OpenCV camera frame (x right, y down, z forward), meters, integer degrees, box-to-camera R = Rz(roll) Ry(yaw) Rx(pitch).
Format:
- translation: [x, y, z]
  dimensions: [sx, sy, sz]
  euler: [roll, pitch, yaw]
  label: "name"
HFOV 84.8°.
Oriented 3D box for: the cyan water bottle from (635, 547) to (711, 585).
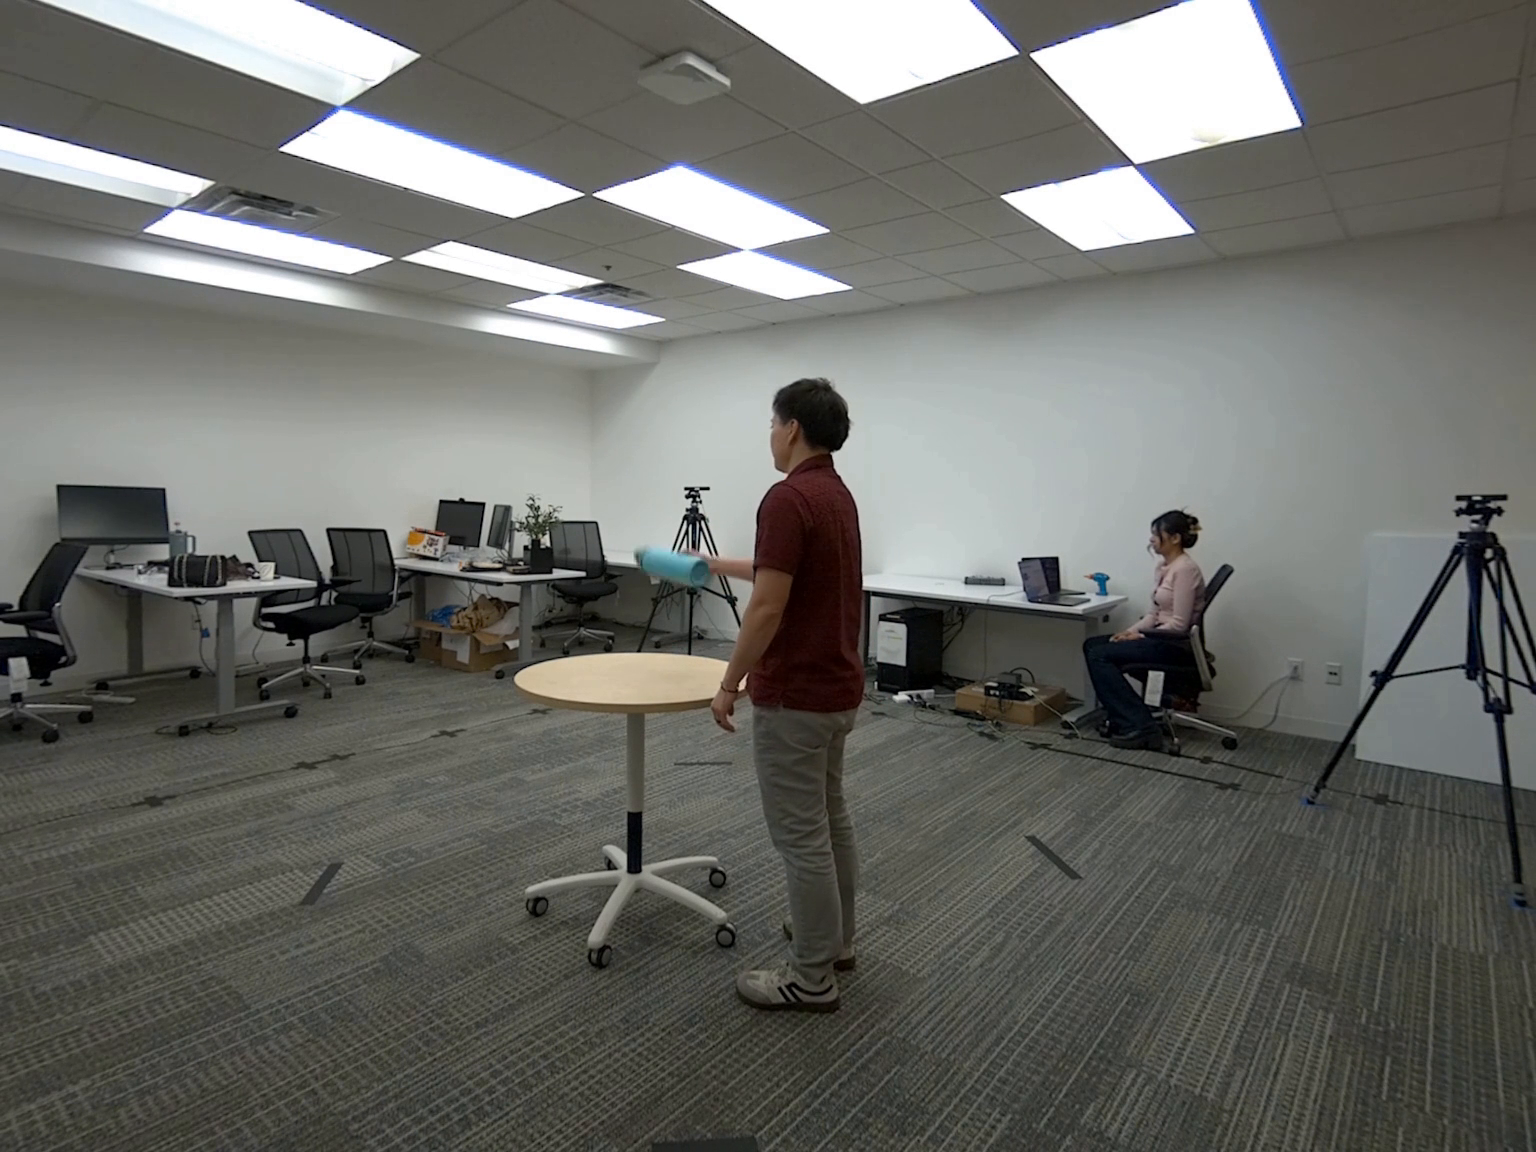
- translation: [-0.309, -0.059, 2.706]
  dimensions: [0.293, 0.092, 0.089]
  euler: [6, 6, 42]
  label: "cyan water bottle"
